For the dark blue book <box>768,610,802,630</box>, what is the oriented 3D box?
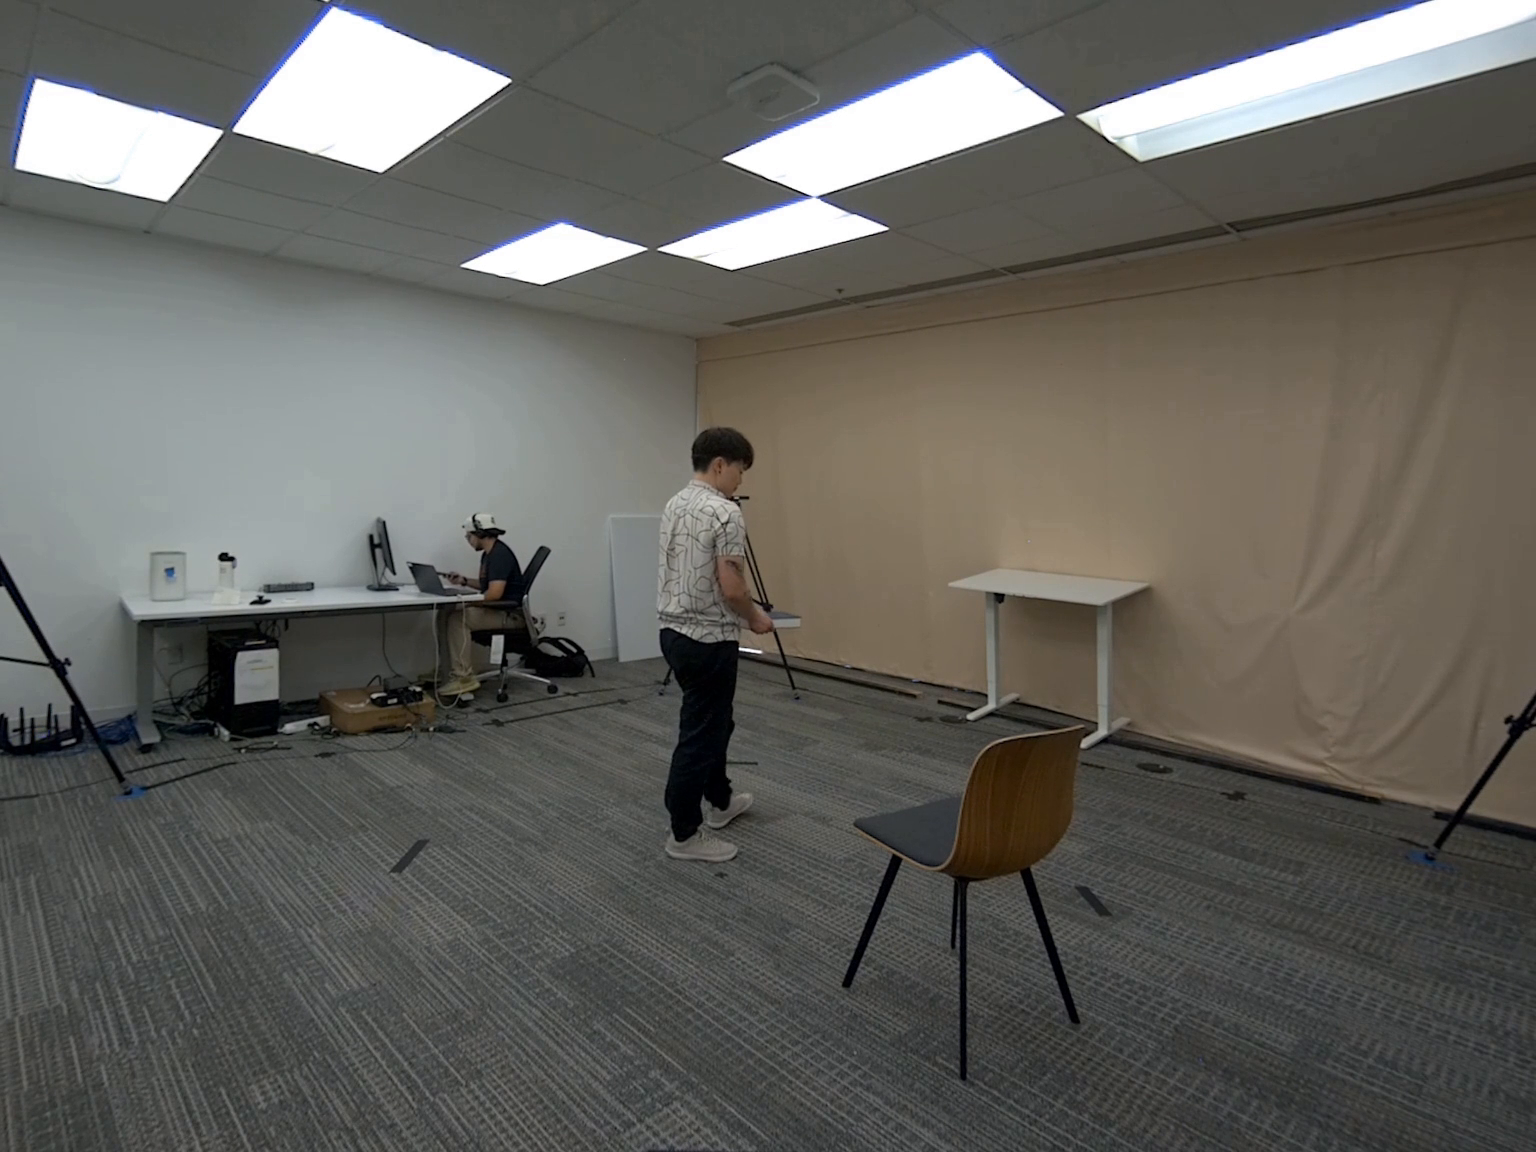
[{"bbox_3d":[-0.009,0.179,3.426,0.242,0.045,0.166,-2,8,-18],"label":"dark blue book"}]
